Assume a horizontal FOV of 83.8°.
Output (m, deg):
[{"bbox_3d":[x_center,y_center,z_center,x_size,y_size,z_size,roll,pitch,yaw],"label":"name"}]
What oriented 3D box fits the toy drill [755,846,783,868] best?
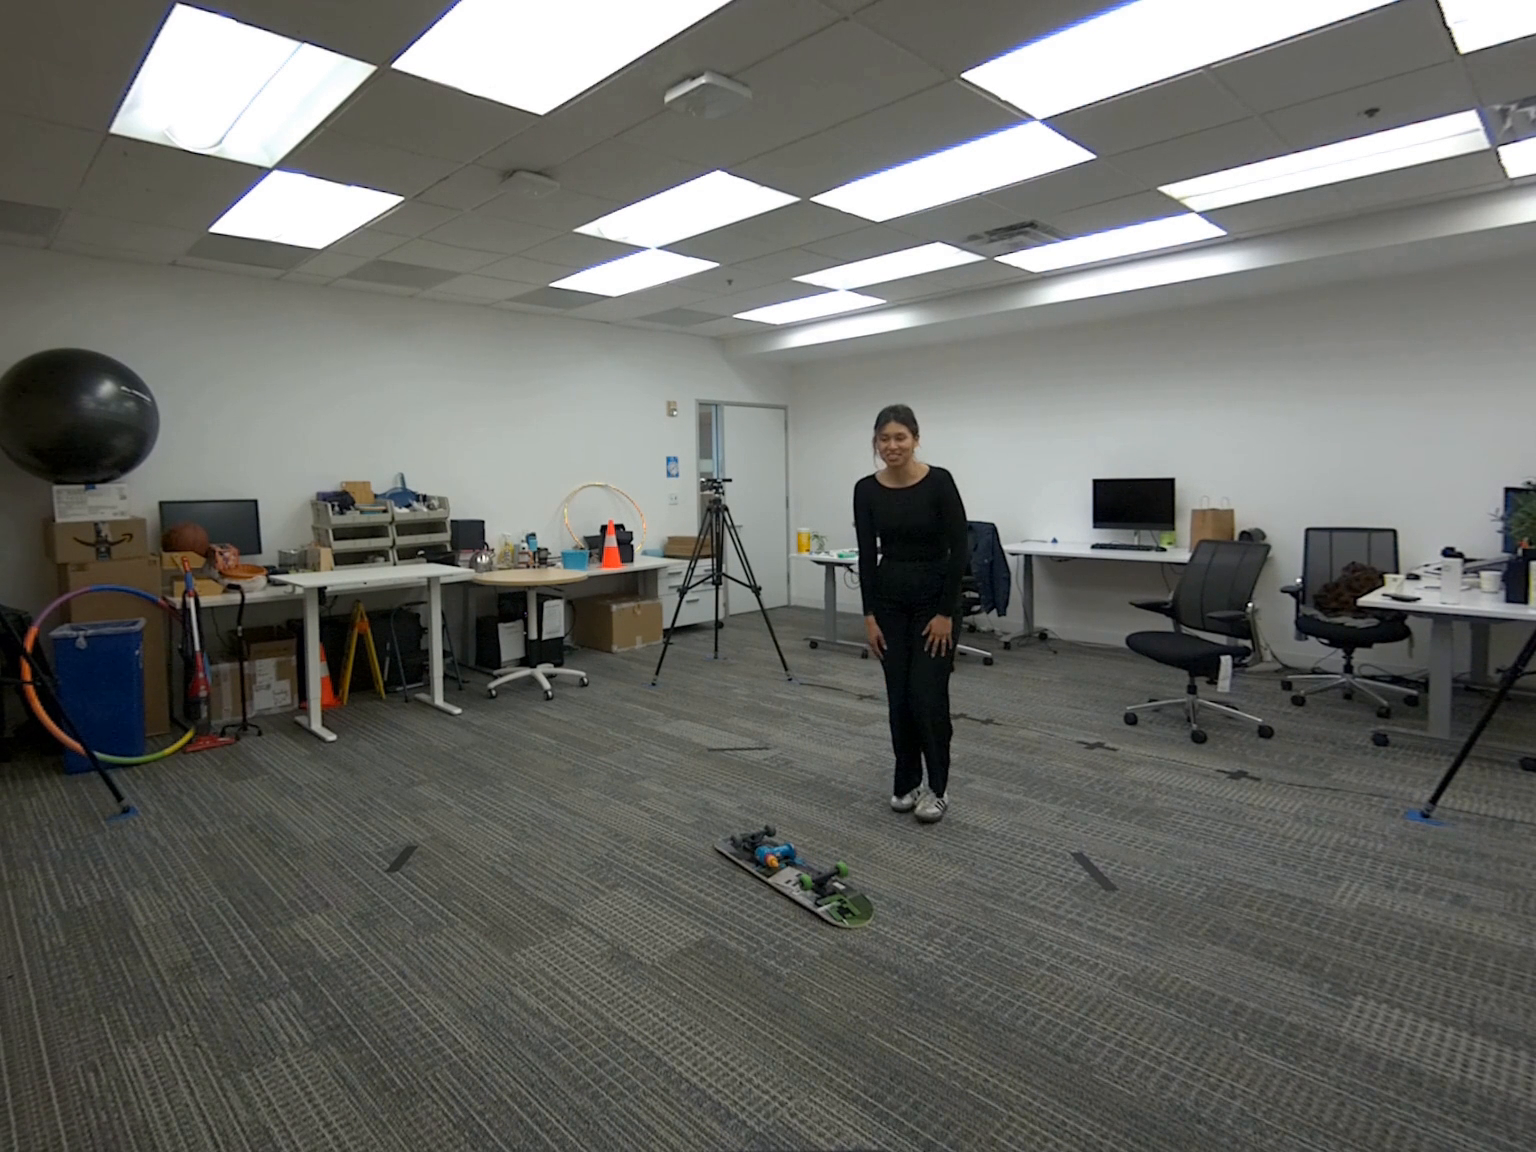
[{"bbox_3d":[0.036,0.990,3.017,0.143,0.061,0.173,-2,0,-22],"label":"toy drill"}]
